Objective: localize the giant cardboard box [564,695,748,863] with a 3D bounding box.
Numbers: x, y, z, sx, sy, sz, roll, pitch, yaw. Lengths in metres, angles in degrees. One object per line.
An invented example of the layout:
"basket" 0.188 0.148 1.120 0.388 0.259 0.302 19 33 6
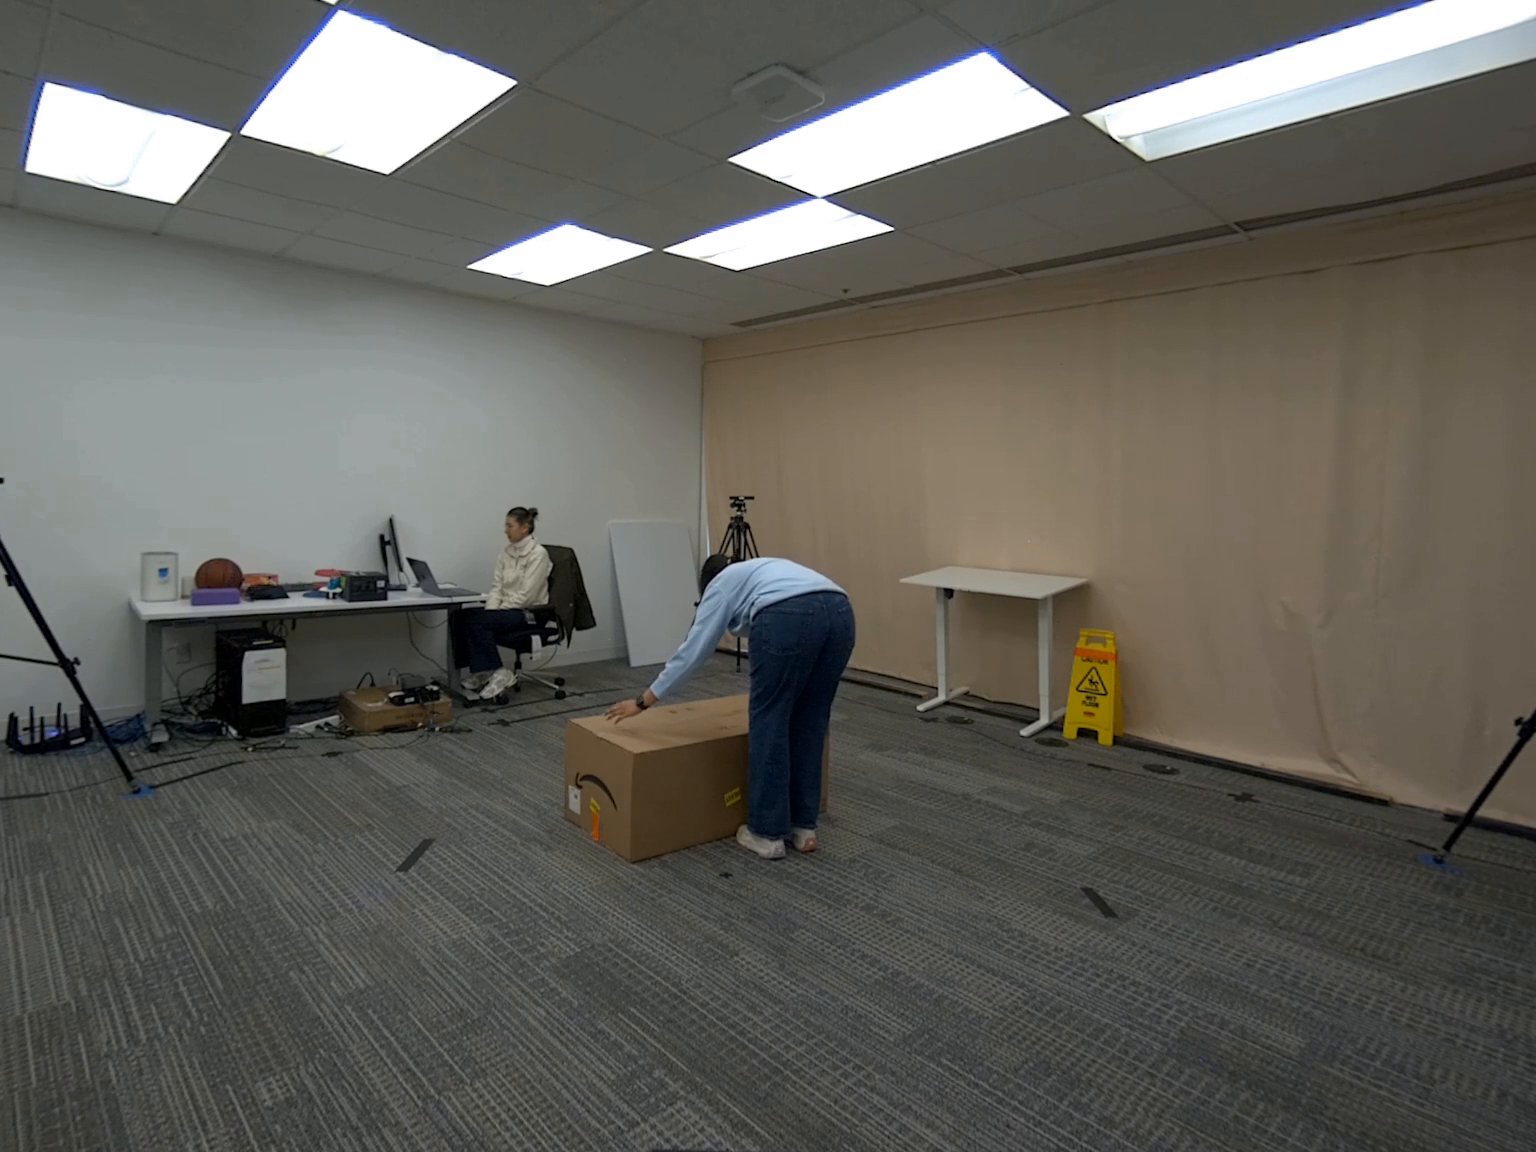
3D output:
"giant cardboard box" -0.308 0.835 3.699 1.003 0.425 0.592 -2 5 -38
